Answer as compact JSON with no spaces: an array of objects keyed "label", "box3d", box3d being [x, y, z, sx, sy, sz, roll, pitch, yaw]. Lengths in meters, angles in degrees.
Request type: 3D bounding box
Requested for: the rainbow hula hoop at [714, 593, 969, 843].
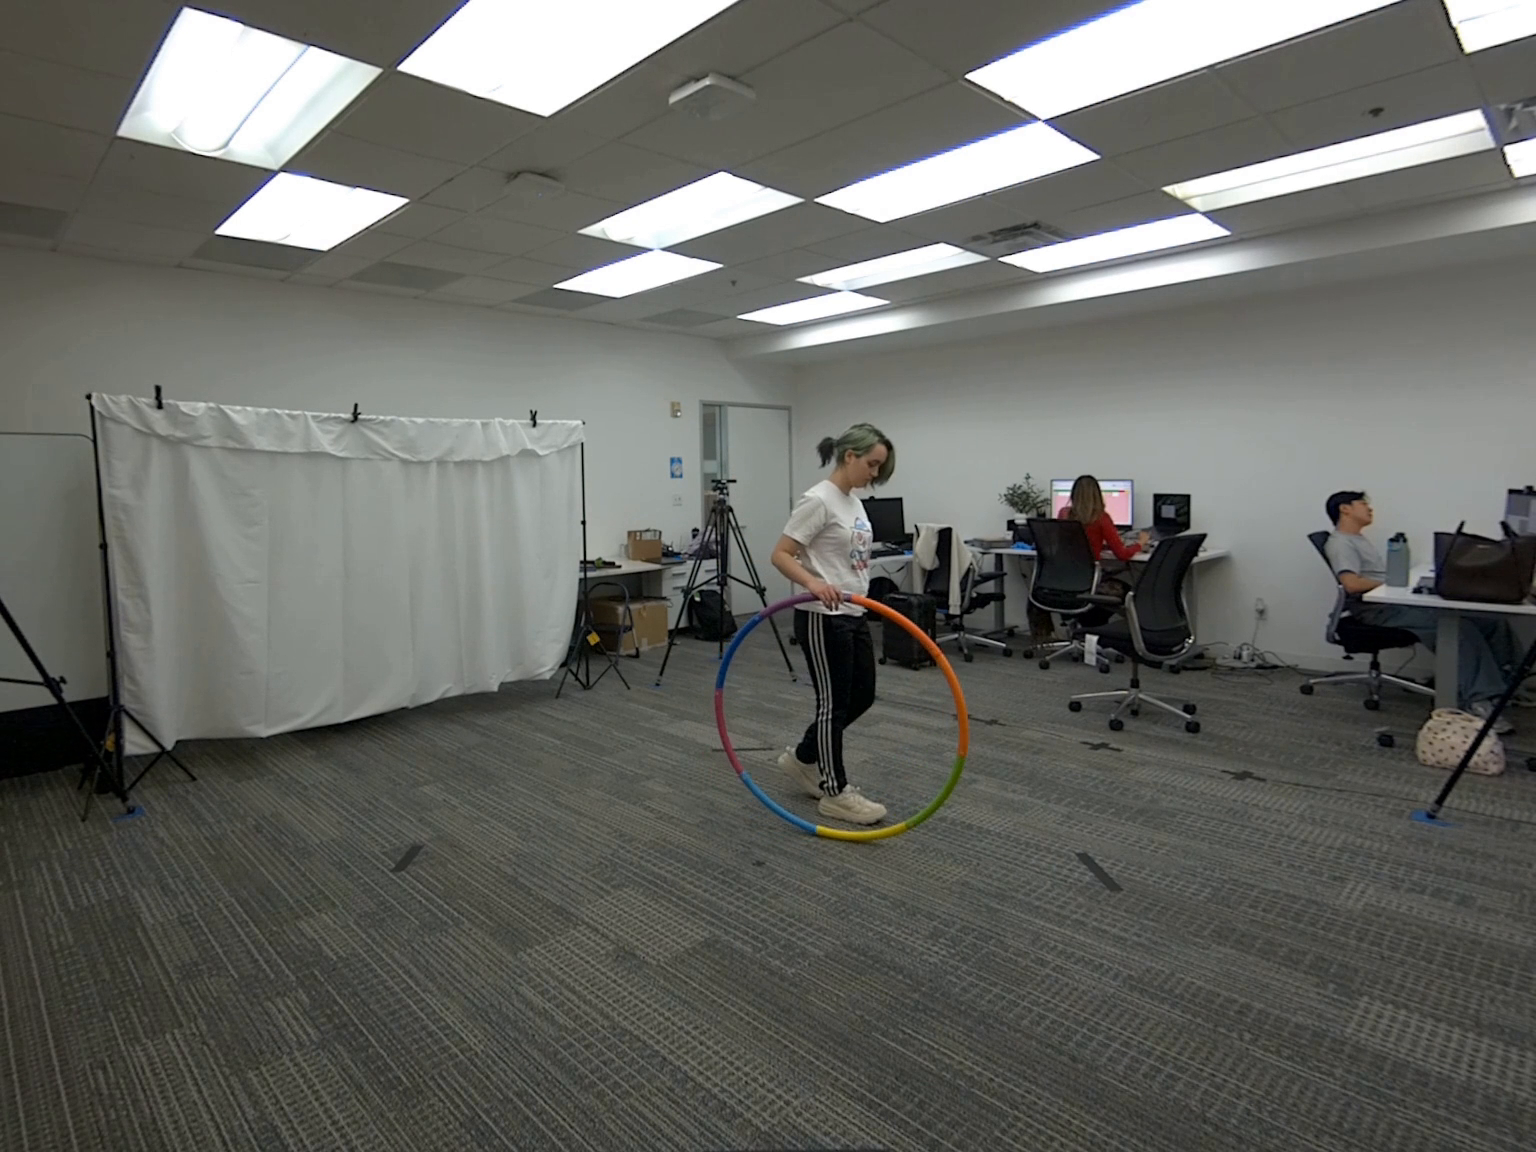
[{"label":"rainbow hula hoop","box3d":[0.254,0.537,3.246,1.000,0.970,0.035,1,9,24]}]
